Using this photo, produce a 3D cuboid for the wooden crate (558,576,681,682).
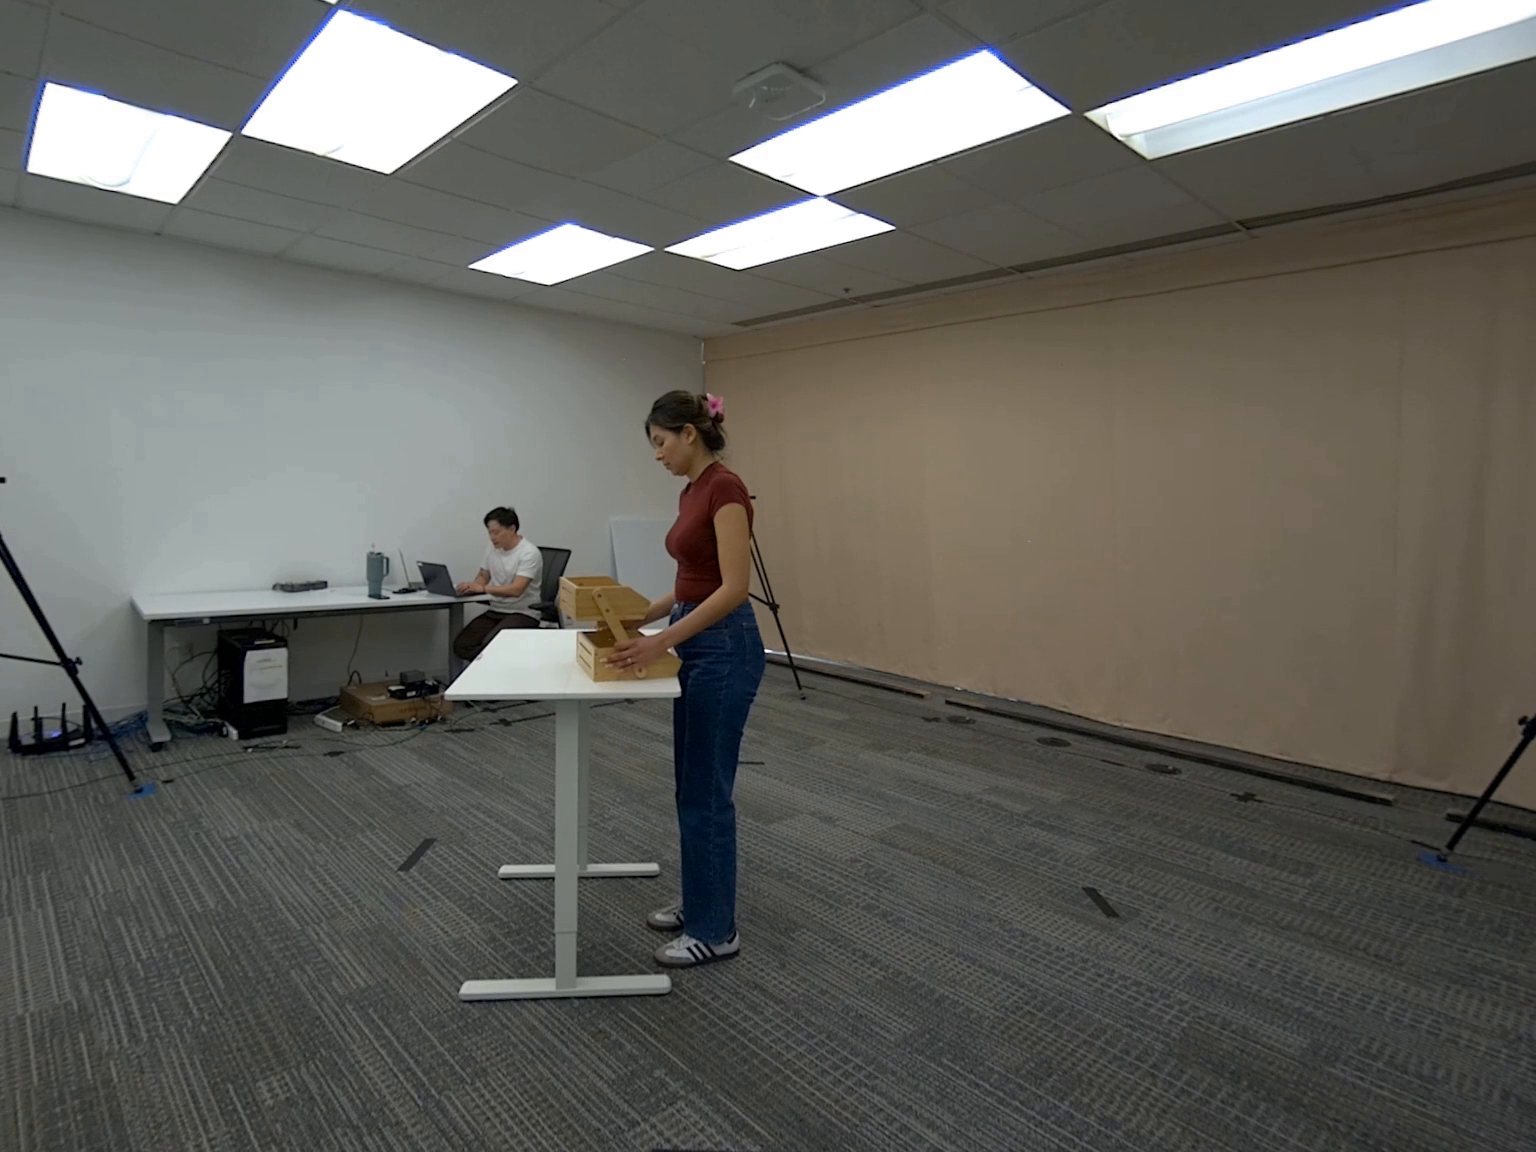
[{"bbox_3d":[-0.436,0.142,2.454,0.297,0.272,0.330,-1,5,-20],"label":"wooden crate"}]
